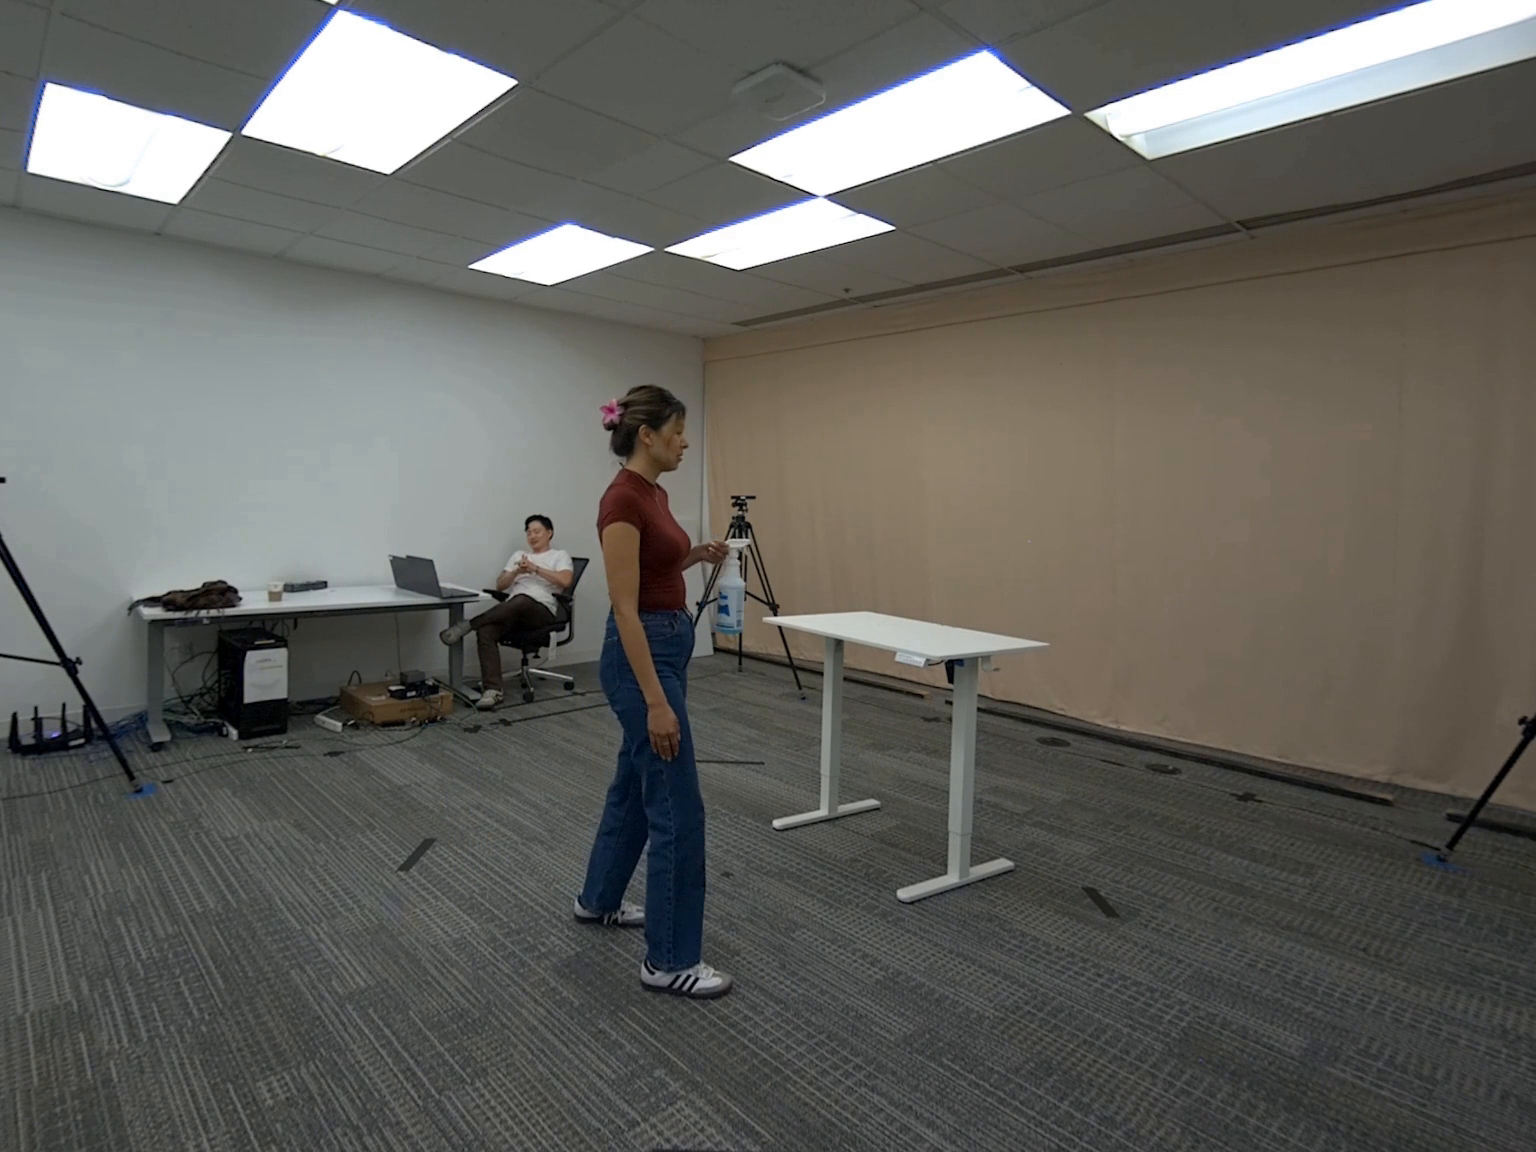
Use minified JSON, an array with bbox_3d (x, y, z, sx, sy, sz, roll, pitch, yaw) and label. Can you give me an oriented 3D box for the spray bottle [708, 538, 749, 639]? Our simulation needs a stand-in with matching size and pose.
[{"bbox_3d":[-0.124,0.034,2.632,0.091,0.296,0.086,4,4,14],"label":"spray bottle"}]
